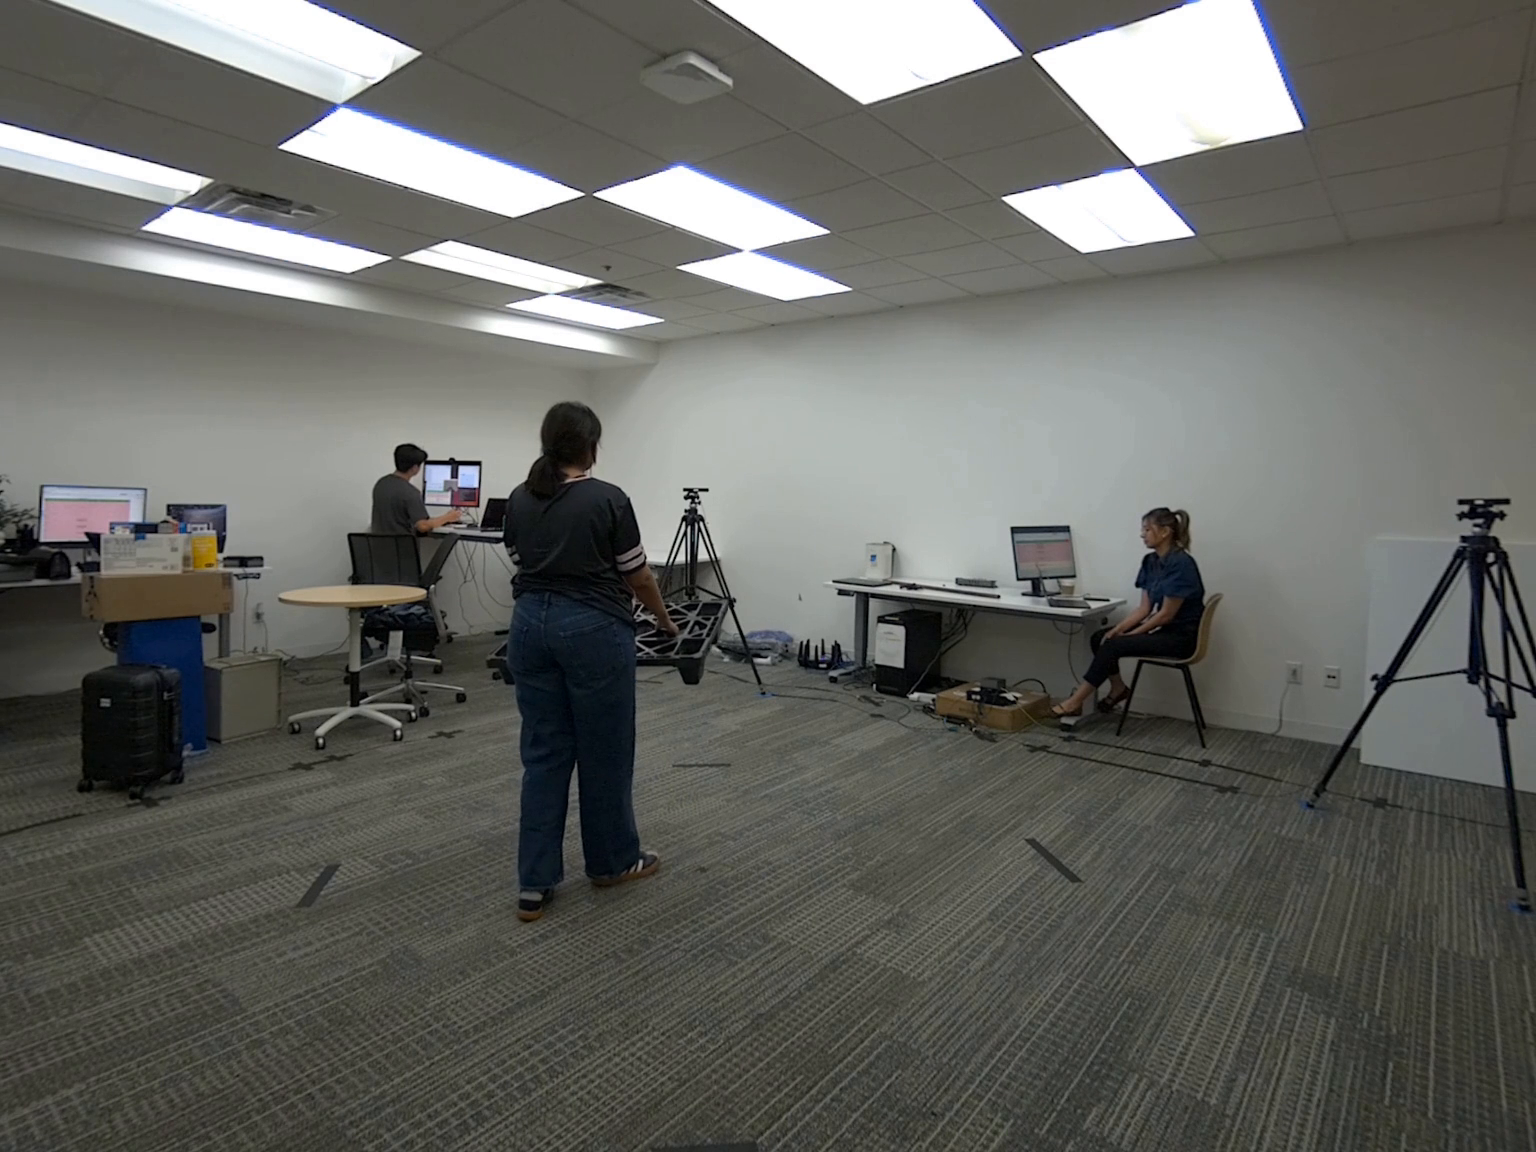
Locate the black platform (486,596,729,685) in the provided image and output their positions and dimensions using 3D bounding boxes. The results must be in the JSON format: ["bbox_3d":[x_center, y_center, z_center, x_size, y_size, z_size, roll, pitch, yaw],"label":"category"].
[{"bbox_3d":[-0.603,0.254,3.274,0.814,0.141,0.608,-2,17,9],"label":"black platform"}]
